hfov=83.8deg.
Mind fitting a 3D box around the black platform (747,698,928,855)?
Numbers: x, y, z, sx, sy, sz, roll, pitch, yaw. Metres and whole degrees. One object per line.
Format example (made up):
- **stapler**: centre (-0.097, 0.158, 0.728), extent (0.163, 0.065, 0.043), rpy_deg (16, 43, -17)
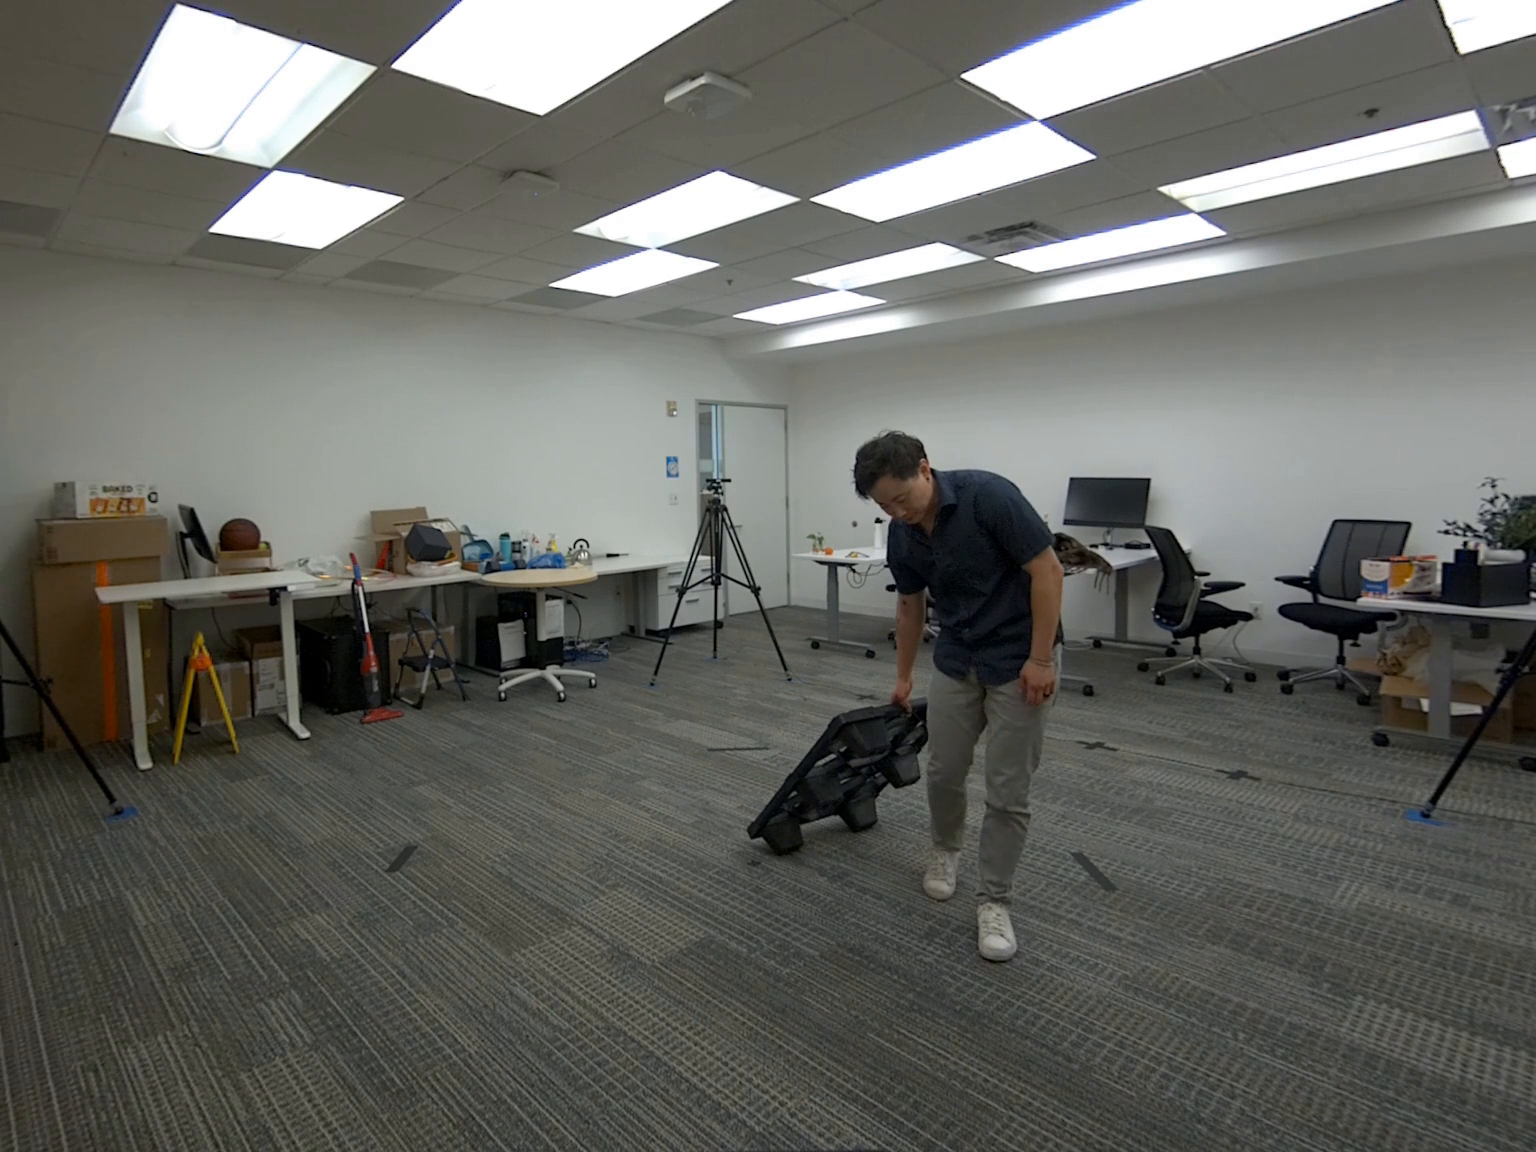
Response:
- **black platform**: centre (0.345, 0.731, 3.096), extent (0.590, 0.148, 0.797), rpy_deg (-4, -40, -33)
